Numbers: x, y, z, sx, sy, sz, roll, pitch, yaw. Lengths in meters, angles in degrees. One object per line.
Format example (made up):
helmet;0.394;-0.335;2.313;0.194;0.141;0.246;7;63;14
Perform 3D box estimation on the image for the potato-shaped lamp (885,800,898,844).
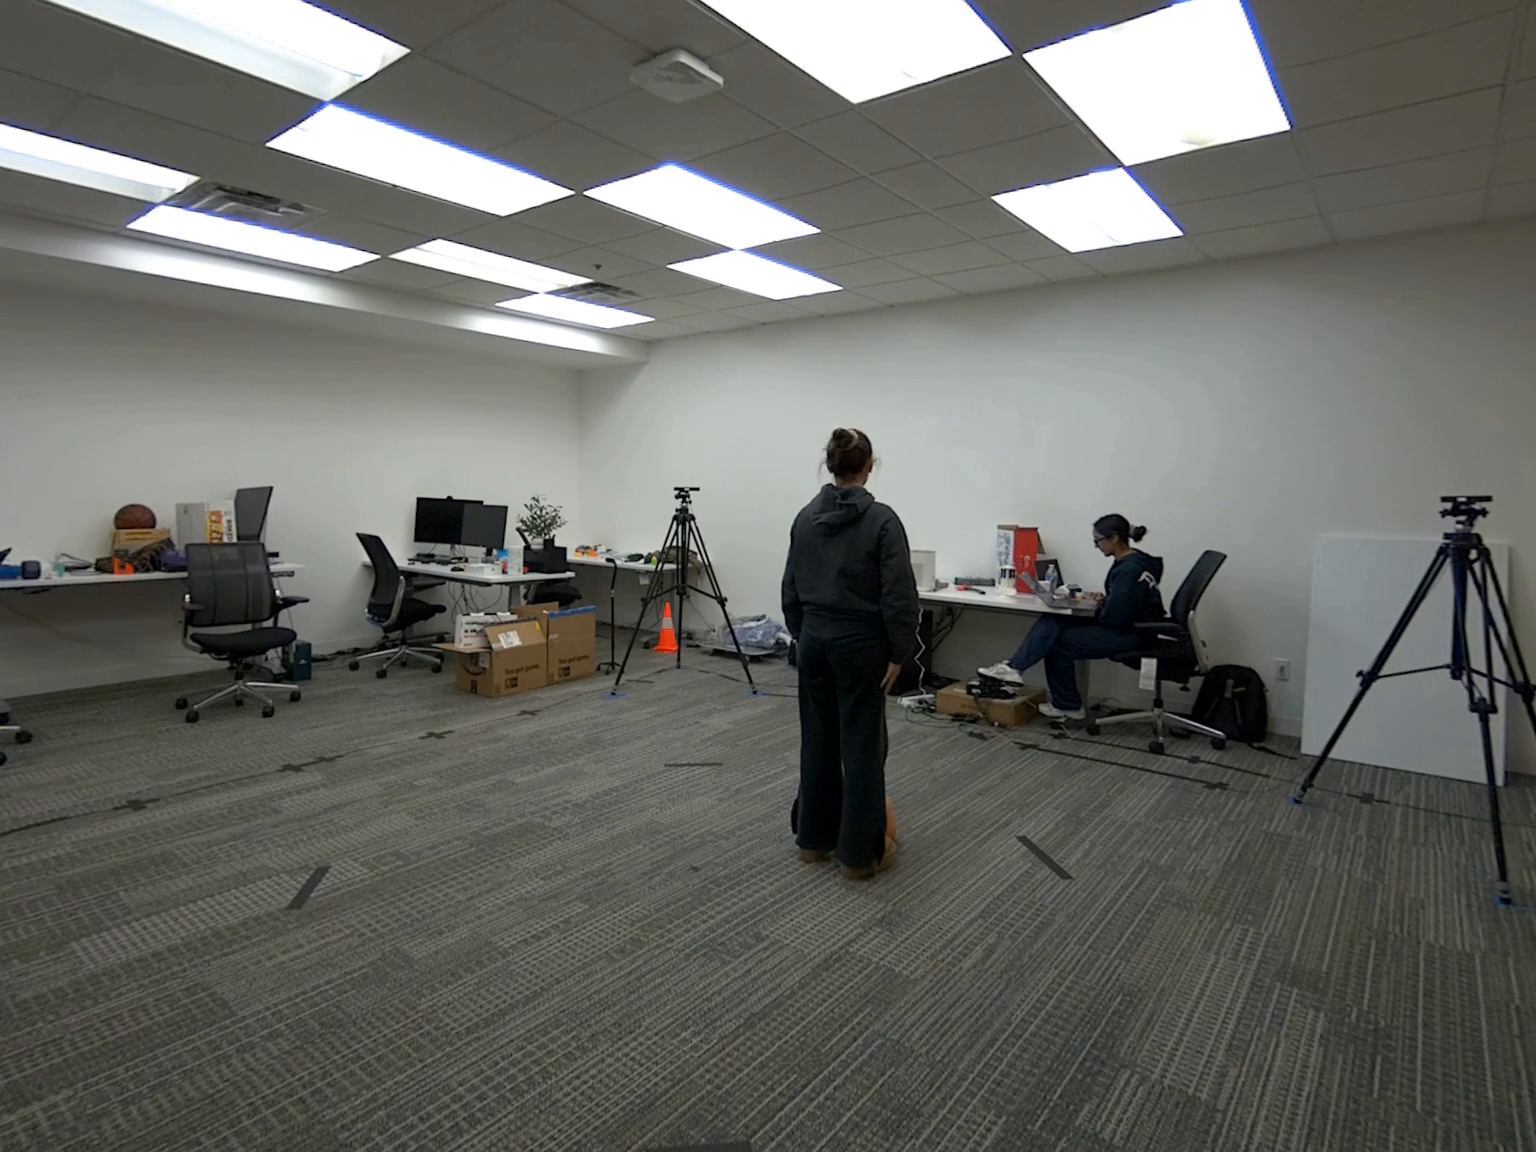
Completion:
potato-shaped lamp;0.428;0.940;3.383;0.170;0.197;0.166;4;5;36
